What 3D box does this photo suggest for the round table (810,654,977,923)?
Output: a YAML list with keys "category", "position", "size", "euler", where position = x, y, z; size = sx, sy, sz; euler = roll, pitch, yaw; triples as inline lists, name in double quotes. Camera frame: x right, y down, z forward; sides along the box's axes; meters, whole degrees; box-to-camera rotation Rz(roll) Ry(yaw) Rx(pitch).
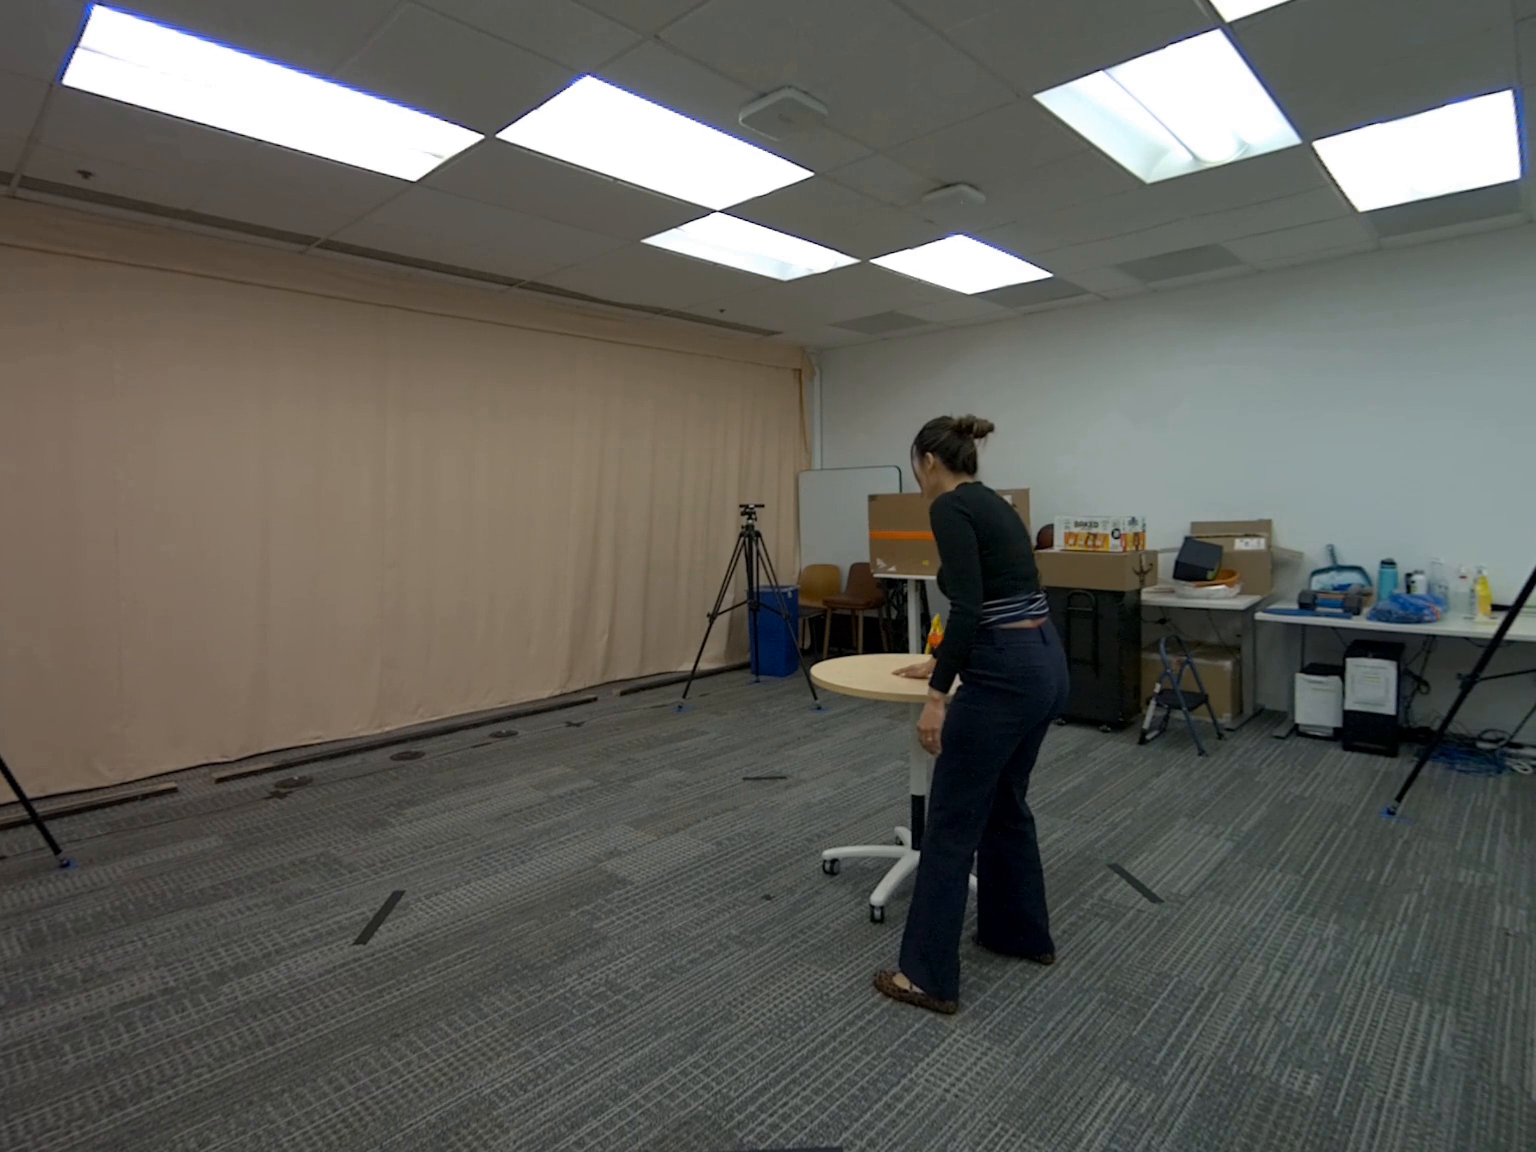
- category: "round table"
  position: [0.543, 0.737, 3.025]
  size: [0.763, 0.792, 0.766]
  euler: [-1, 3, -2]
